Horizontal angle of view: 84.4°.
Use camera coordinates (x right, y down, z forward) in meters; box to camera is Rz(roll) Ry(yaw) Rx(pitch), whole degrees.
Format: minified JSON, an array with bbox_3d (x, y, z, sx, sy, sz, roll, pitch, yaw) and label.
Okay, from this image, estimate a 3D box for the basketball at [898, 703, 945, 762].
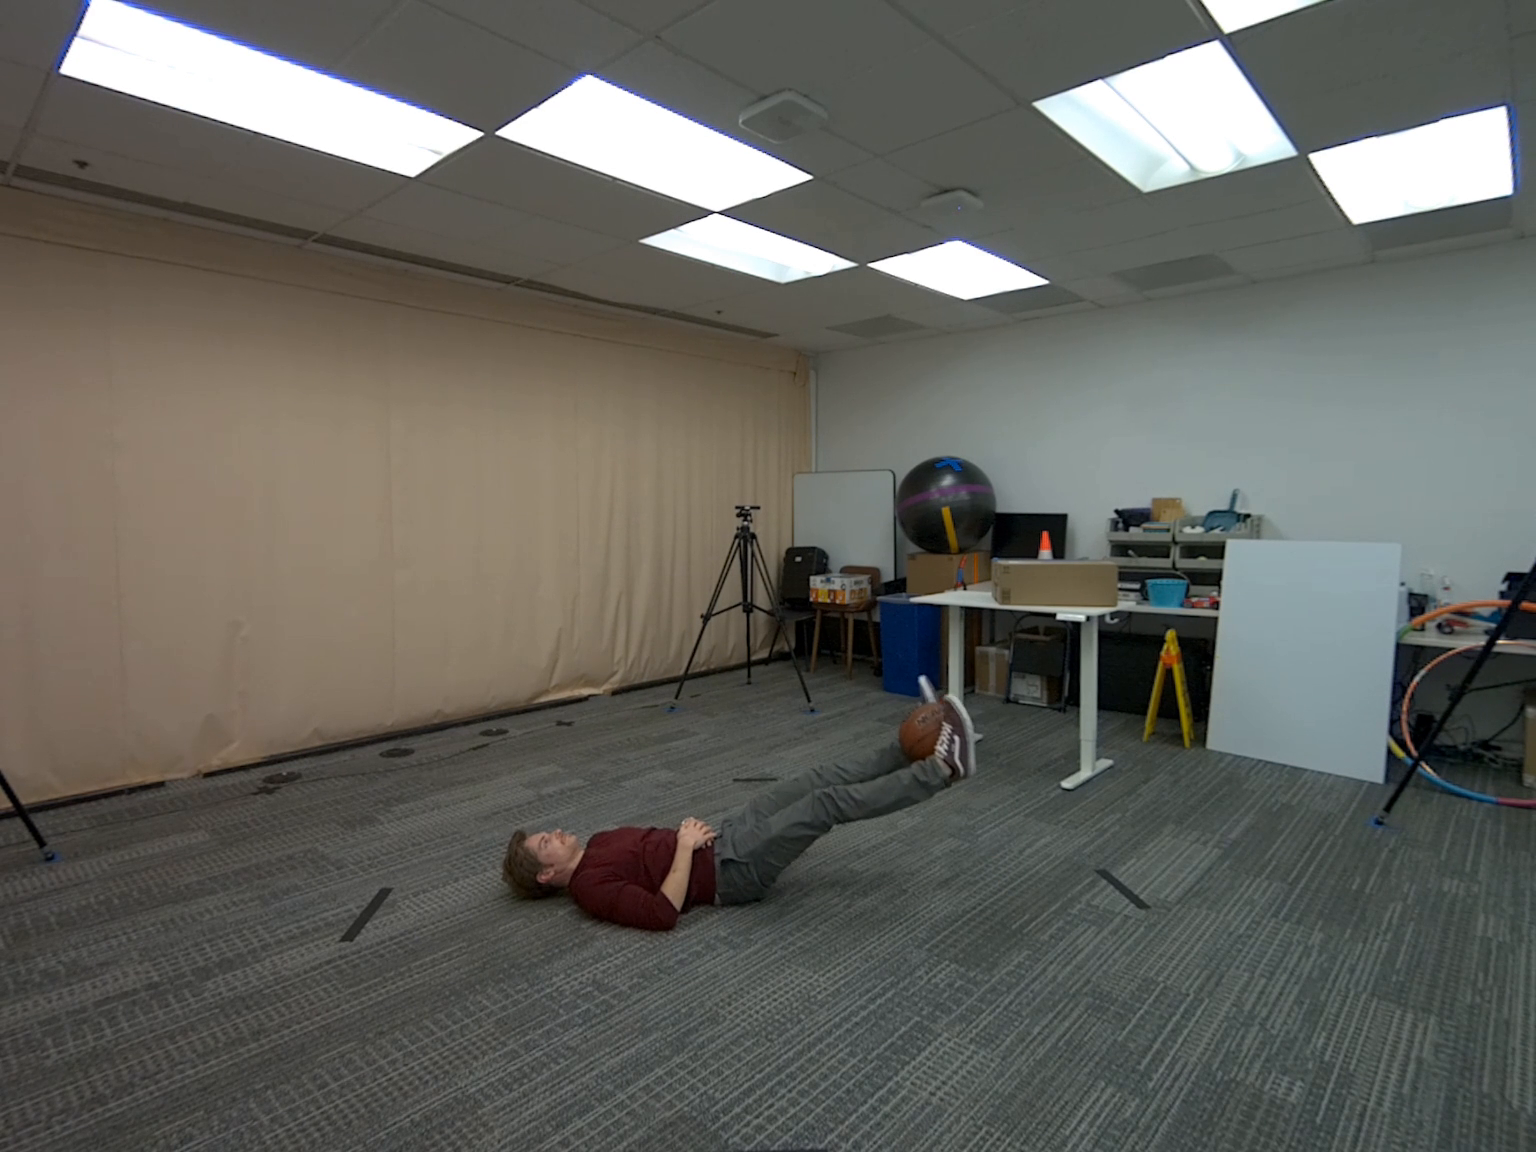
[{"bbox_3d":[0.582,0.575,2.985,0.235,0.235,0.237,3,5,-2],"label":"basketball"}]
